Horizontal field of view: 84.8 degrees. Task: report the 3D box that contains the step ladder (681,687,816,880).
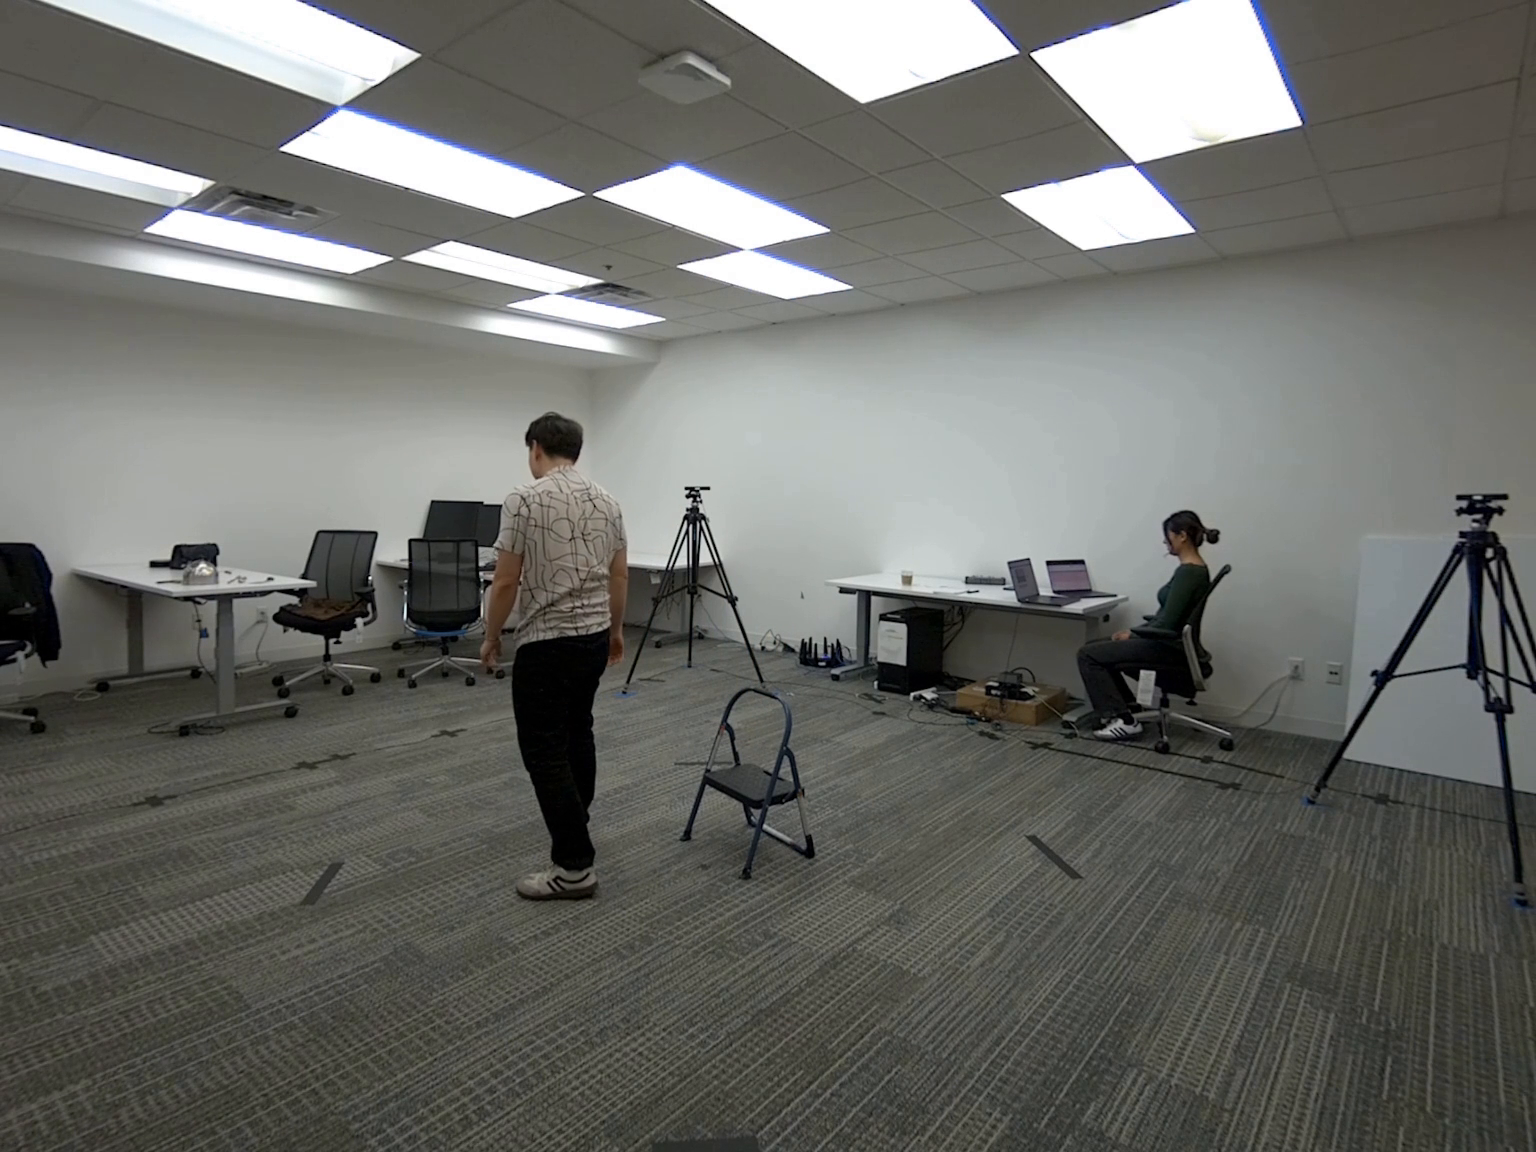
[{"bbox_3d":[-0.082,0.749,3.269,0.339,0.604,0.445,-1,4,-38],"label":"step ladder"}]
